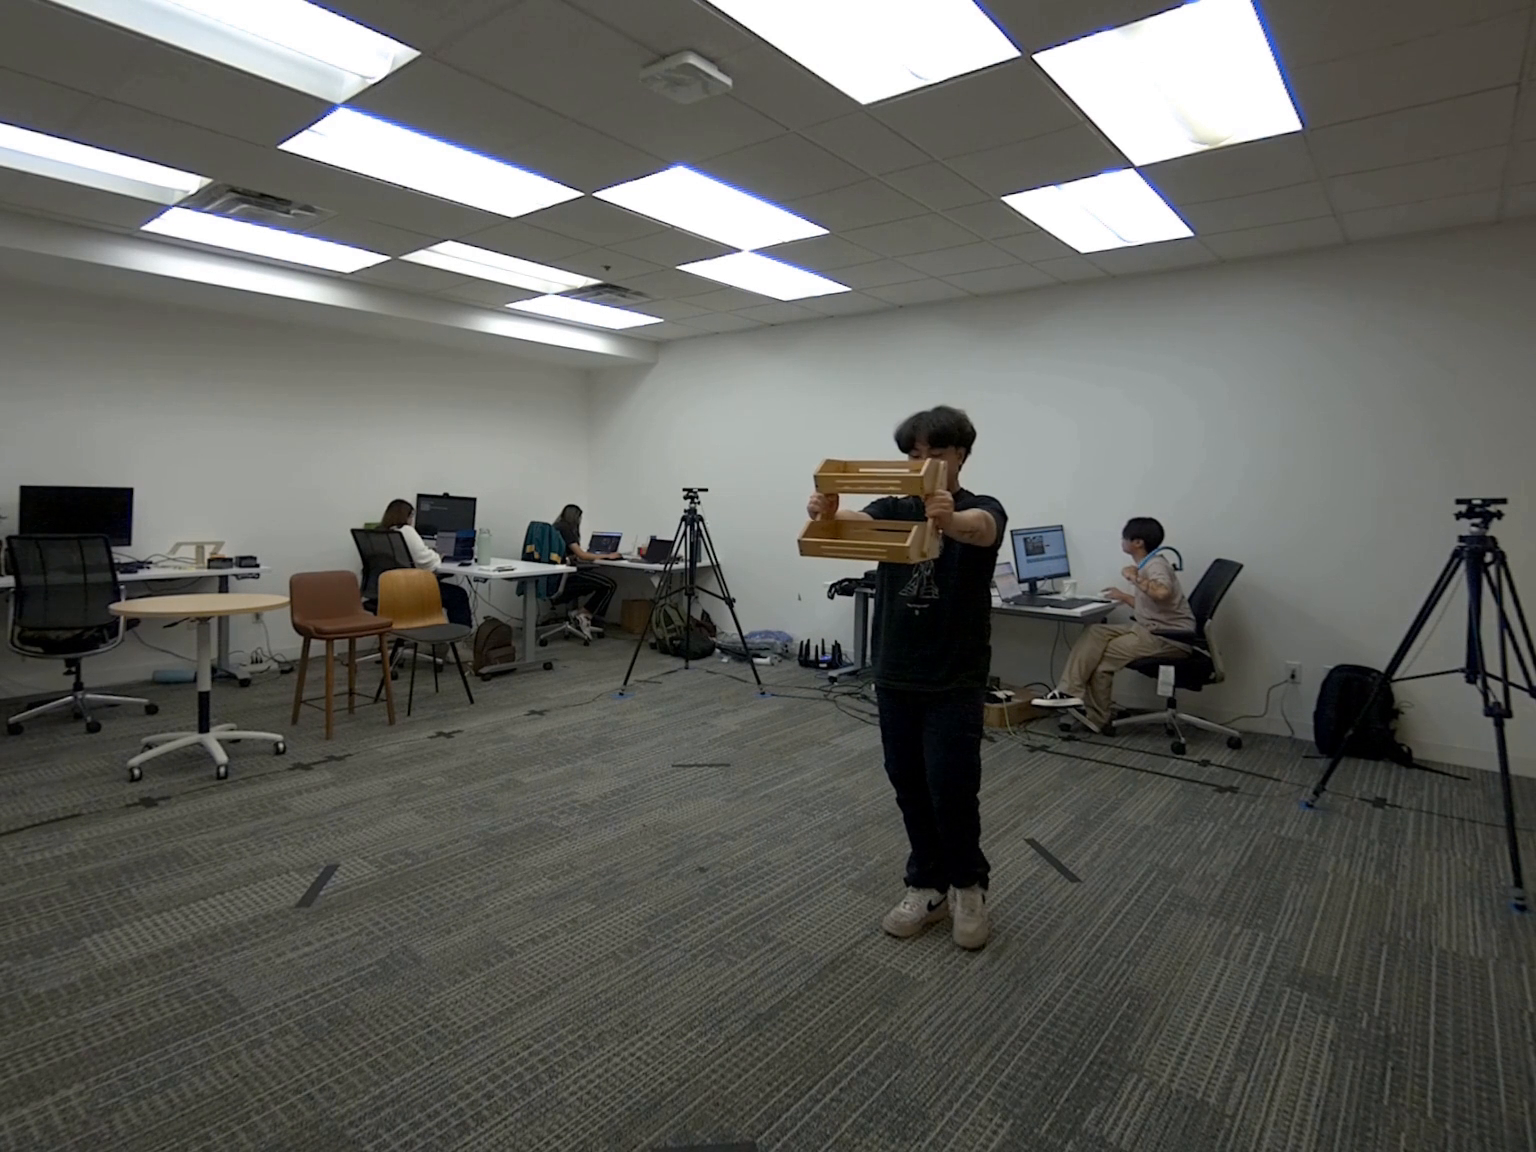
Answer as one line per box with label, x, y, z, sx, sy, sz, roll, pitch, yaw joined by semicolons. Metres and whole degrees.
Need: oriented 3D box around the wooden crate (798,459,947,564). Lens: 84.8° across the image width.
wooden crate;0.277;-0.187;2.258;0.333;0.272;0.295;4;4;25
